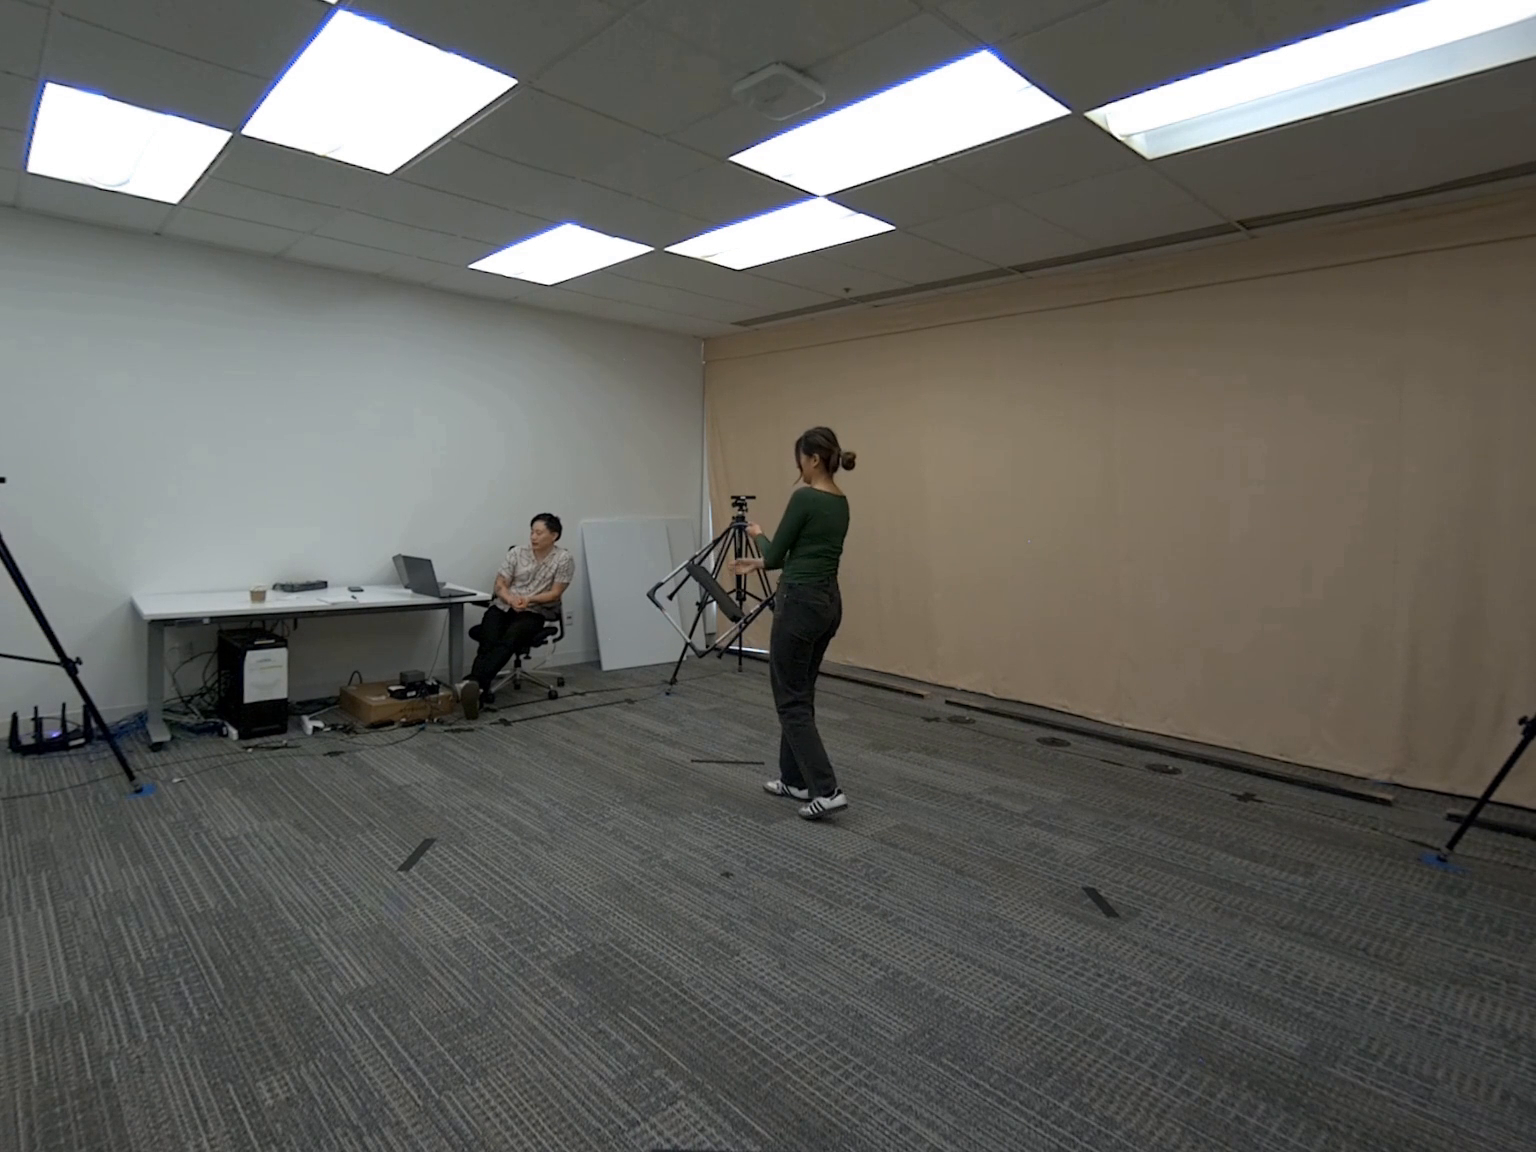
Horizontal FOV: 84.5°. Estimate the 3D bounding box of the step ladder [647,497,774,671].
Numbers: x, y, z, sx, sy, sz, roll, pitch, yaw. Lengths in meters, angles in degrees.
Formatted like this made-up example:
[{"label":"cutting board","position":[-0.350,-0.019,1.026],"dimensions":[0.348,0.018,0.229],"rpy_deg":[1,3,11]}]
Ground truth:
[{"label":"step ladder","position":[-0.202,0.043,4.092],"dimensions":[0.437,0.606,0.344],"rpy_deg":[48,8,13]}]
